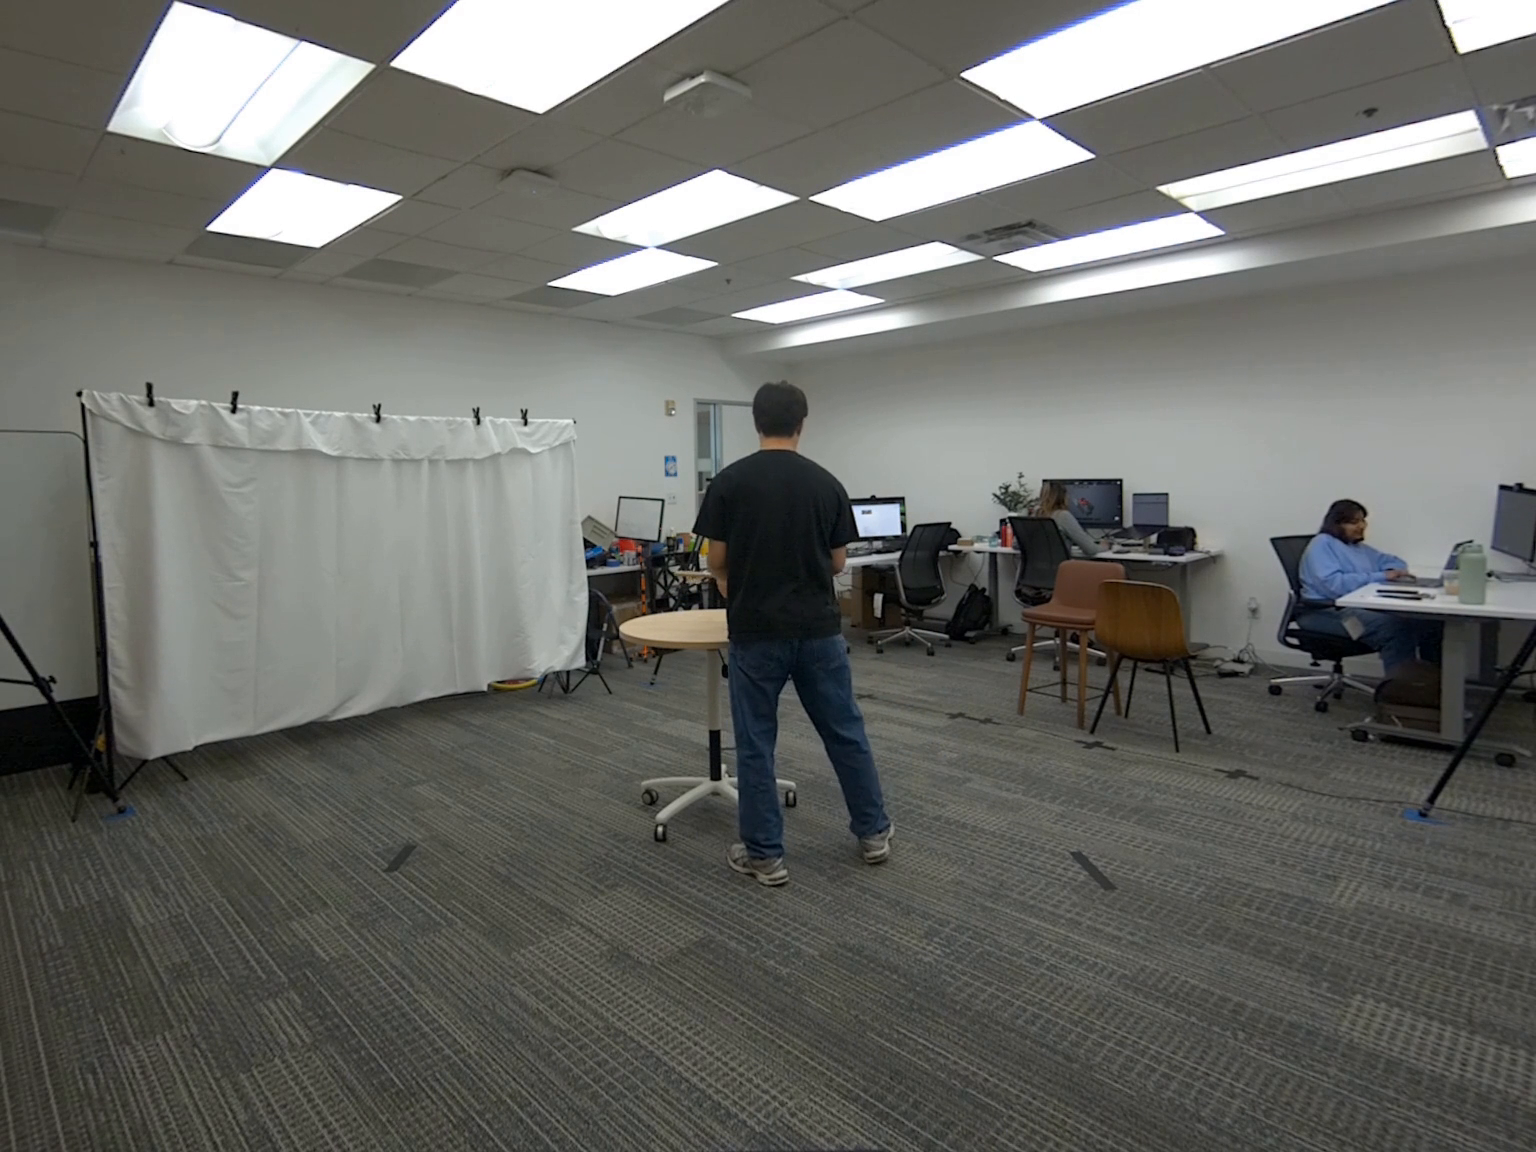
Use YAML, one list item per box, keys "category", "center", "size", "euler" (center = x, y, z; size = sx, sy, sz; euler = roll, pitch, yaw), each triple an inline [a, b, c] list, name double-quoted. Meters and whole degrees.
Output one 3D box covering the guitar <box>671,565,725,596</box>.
- category: "guitar"
  center: [-0.129, 0.021, 3.469]
  size: [0.510, 0.070, 0.190]
  euler: [4, 13, 27]
